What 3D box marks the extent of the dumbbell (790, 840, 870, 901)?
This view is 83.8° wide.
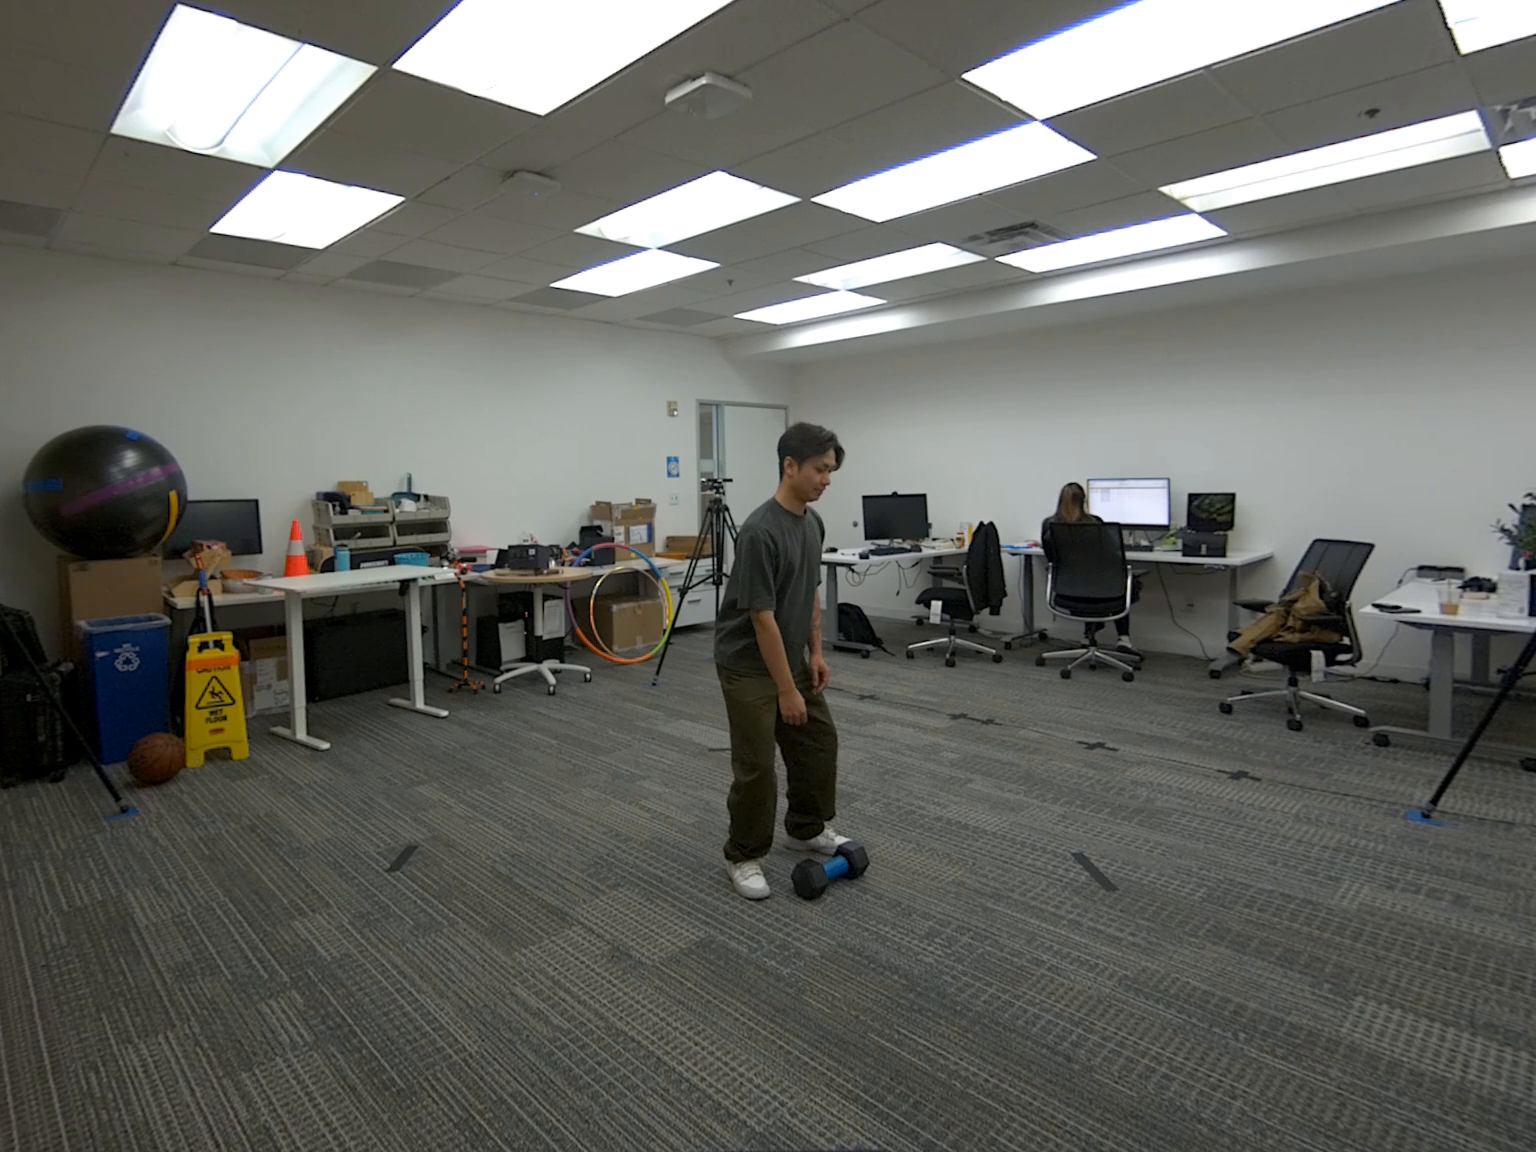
[{"bbox_3d":[0.210,1.001,2.929,0.286,0.121,0.113,-7,39,-42],"label":"dumbbell"}]
